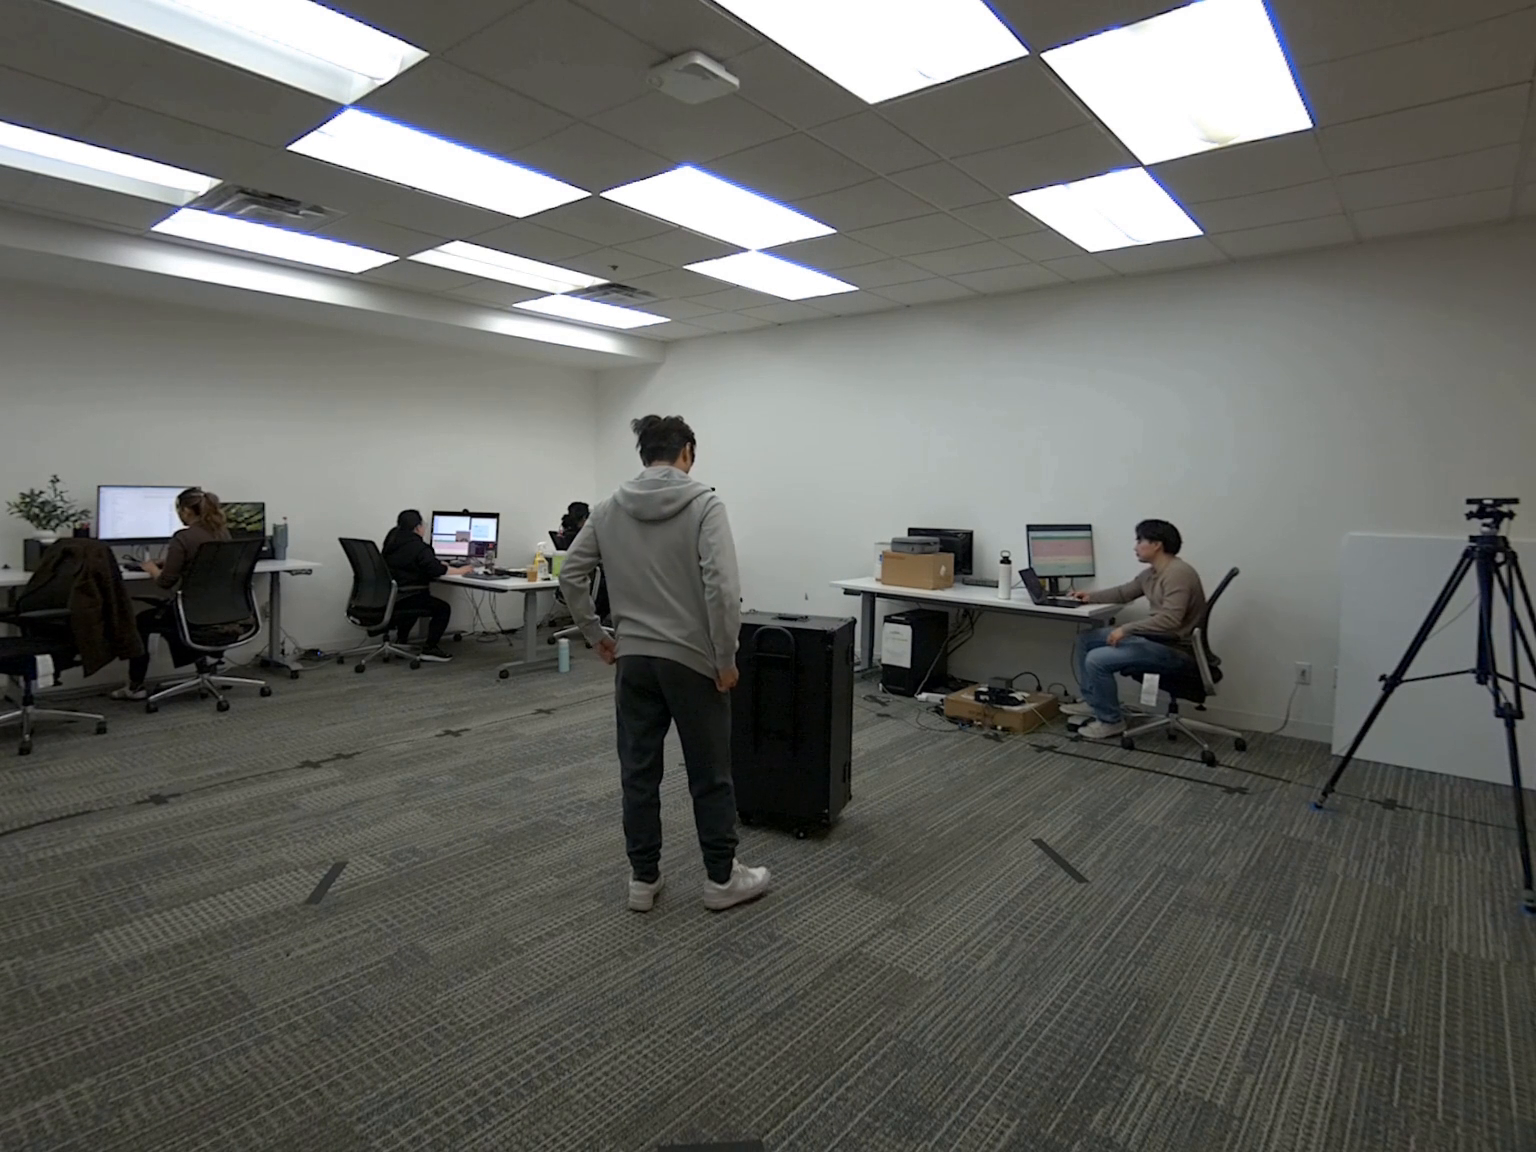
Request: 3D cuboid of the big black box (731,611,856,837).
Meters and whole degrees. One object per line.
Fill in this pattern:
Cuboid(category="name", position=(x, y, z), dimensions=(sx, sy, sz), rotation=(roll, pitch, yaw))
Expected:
Cuboid(category="big black box", position=(0.076, 0.604, 3.553), dimensions=(0.534, 0.858, 0.389), rotation=(2, 5, 22))
